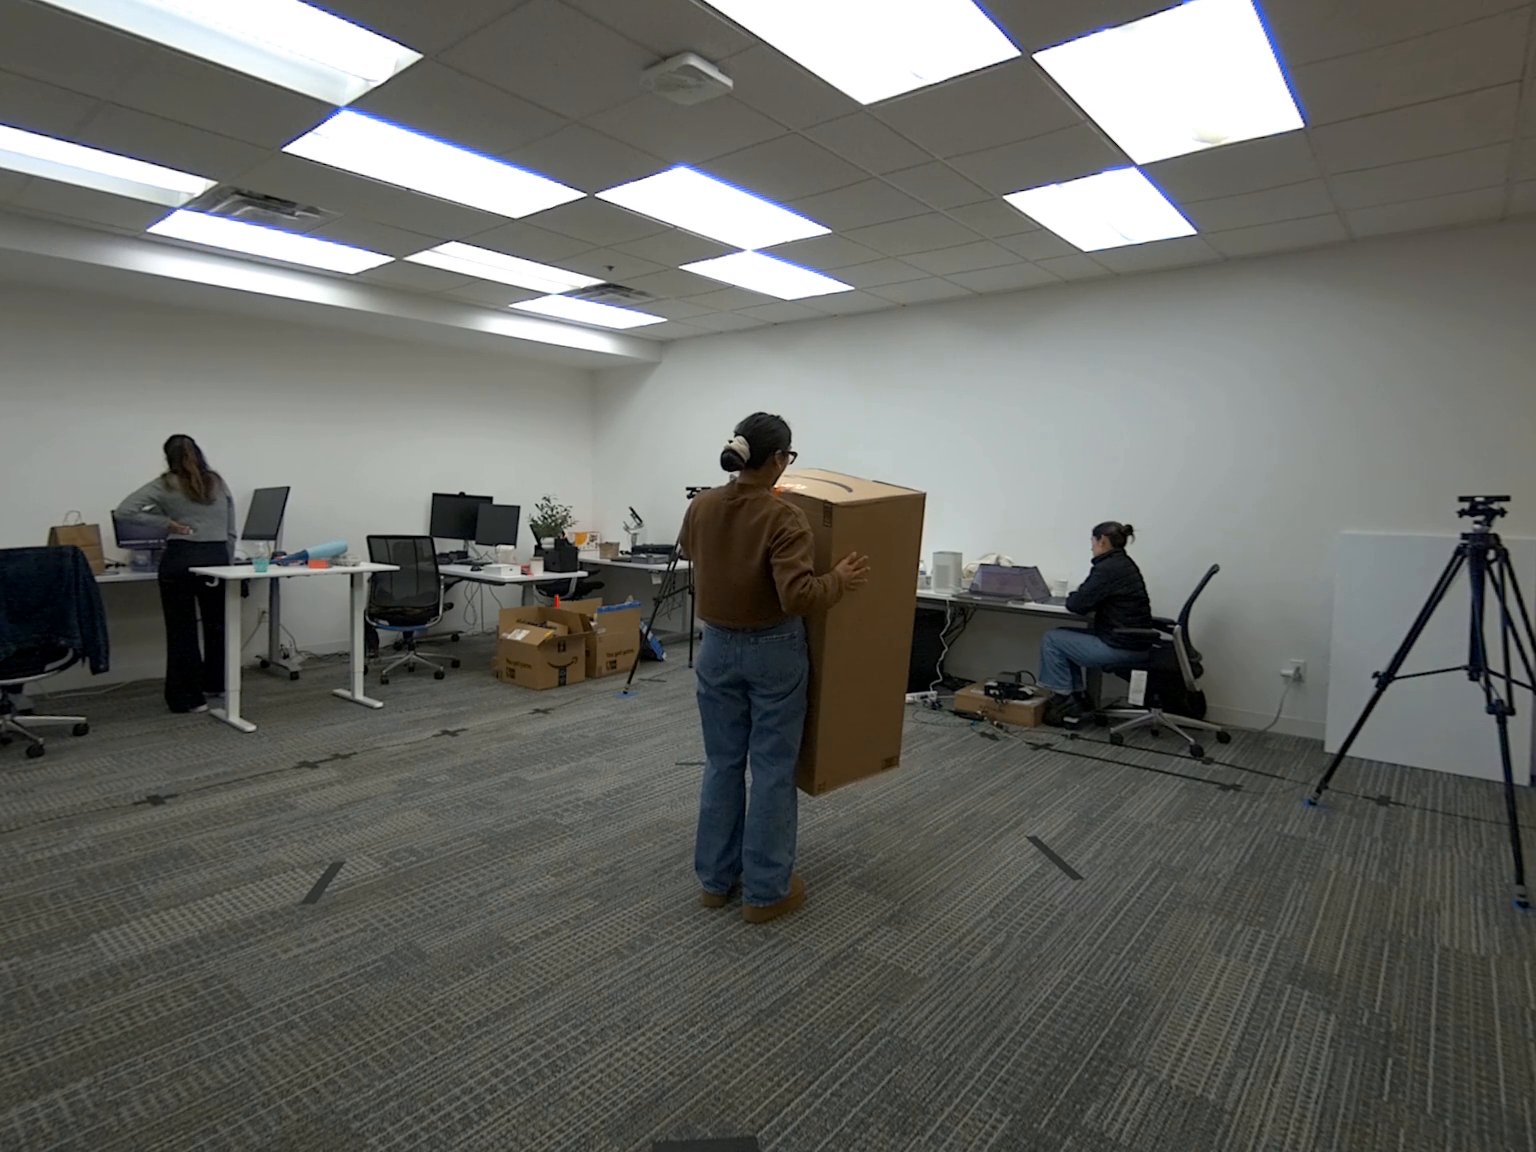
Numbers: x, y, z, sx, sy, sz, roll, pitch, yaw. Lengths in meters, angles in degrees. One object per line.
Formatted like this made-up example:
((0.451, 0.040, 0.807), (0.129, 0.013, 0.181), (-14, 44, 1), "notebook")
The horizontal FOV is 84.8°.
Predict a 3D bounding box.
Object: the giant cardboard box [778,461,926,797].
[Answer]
((0.165, 0.162, 3.110), (0.415, 1.014, 0.600), (-6, 16, -36), "giant cardboard box")
